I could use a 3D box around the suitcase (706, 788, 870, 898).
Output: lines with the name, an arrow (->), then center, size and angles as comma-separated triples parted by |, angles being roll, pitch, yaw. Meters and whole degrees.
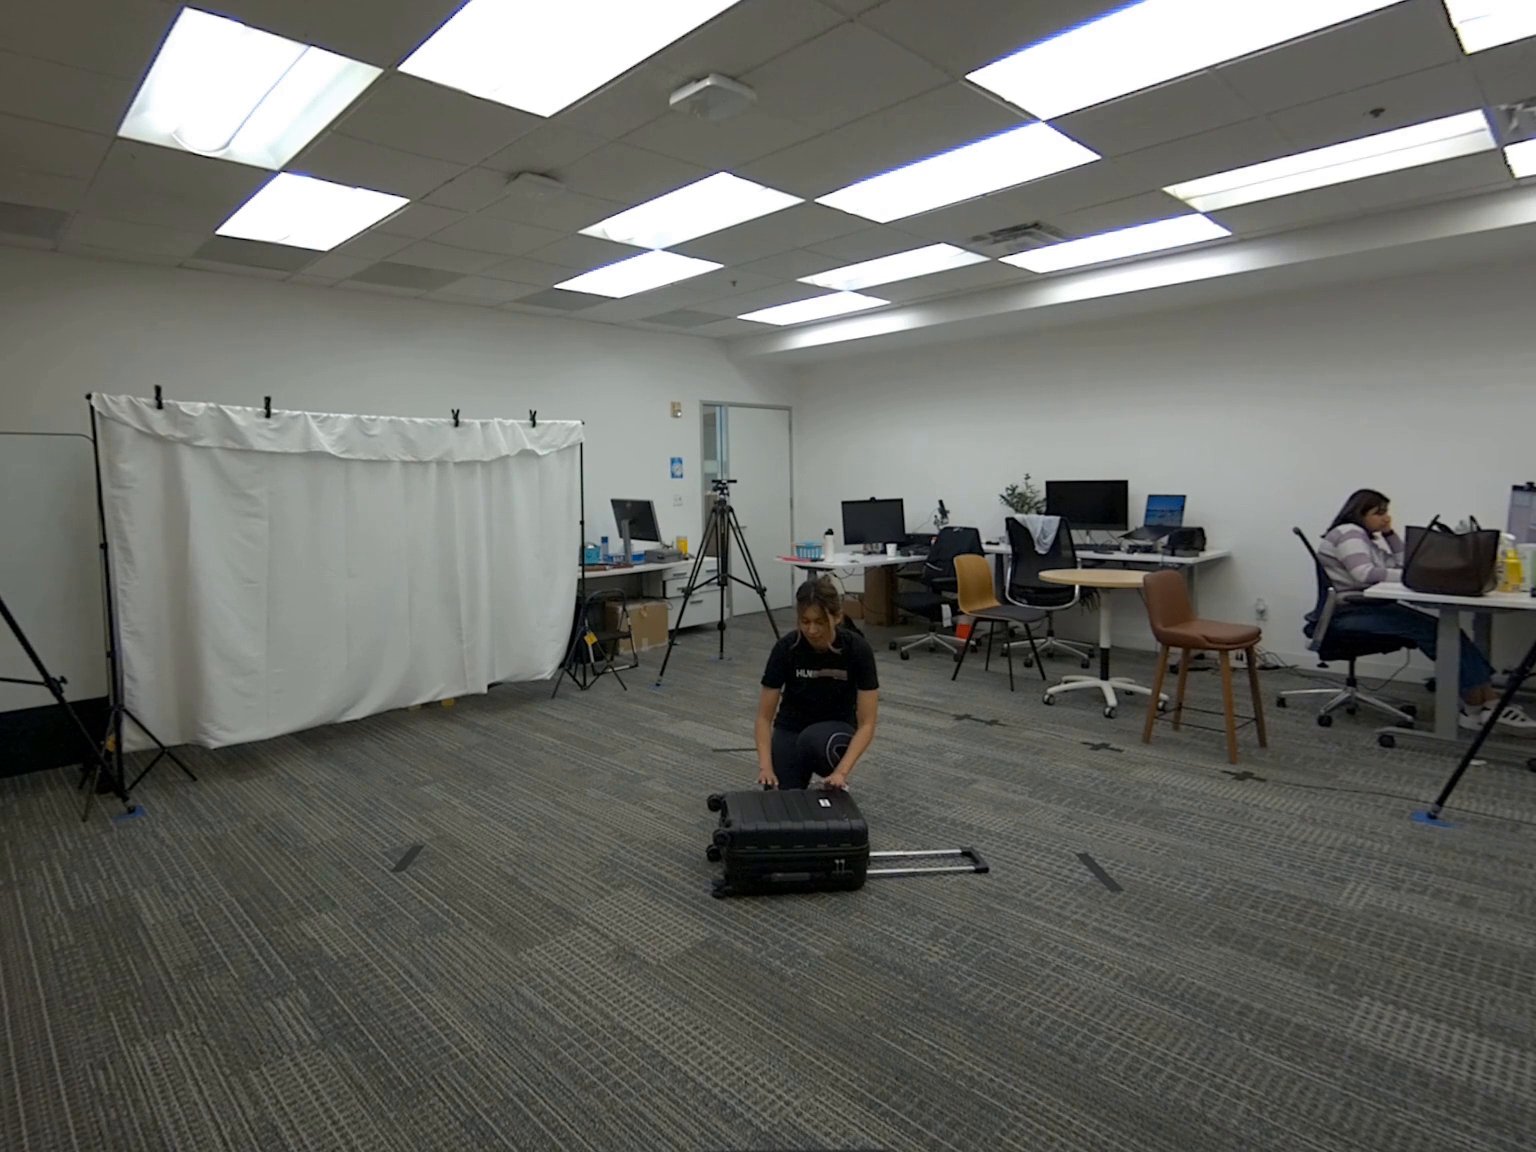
suitcase -> 0.275, 0.919, 3.031 | 0.974, 0.255, 0.388 | -3, 7, -5
